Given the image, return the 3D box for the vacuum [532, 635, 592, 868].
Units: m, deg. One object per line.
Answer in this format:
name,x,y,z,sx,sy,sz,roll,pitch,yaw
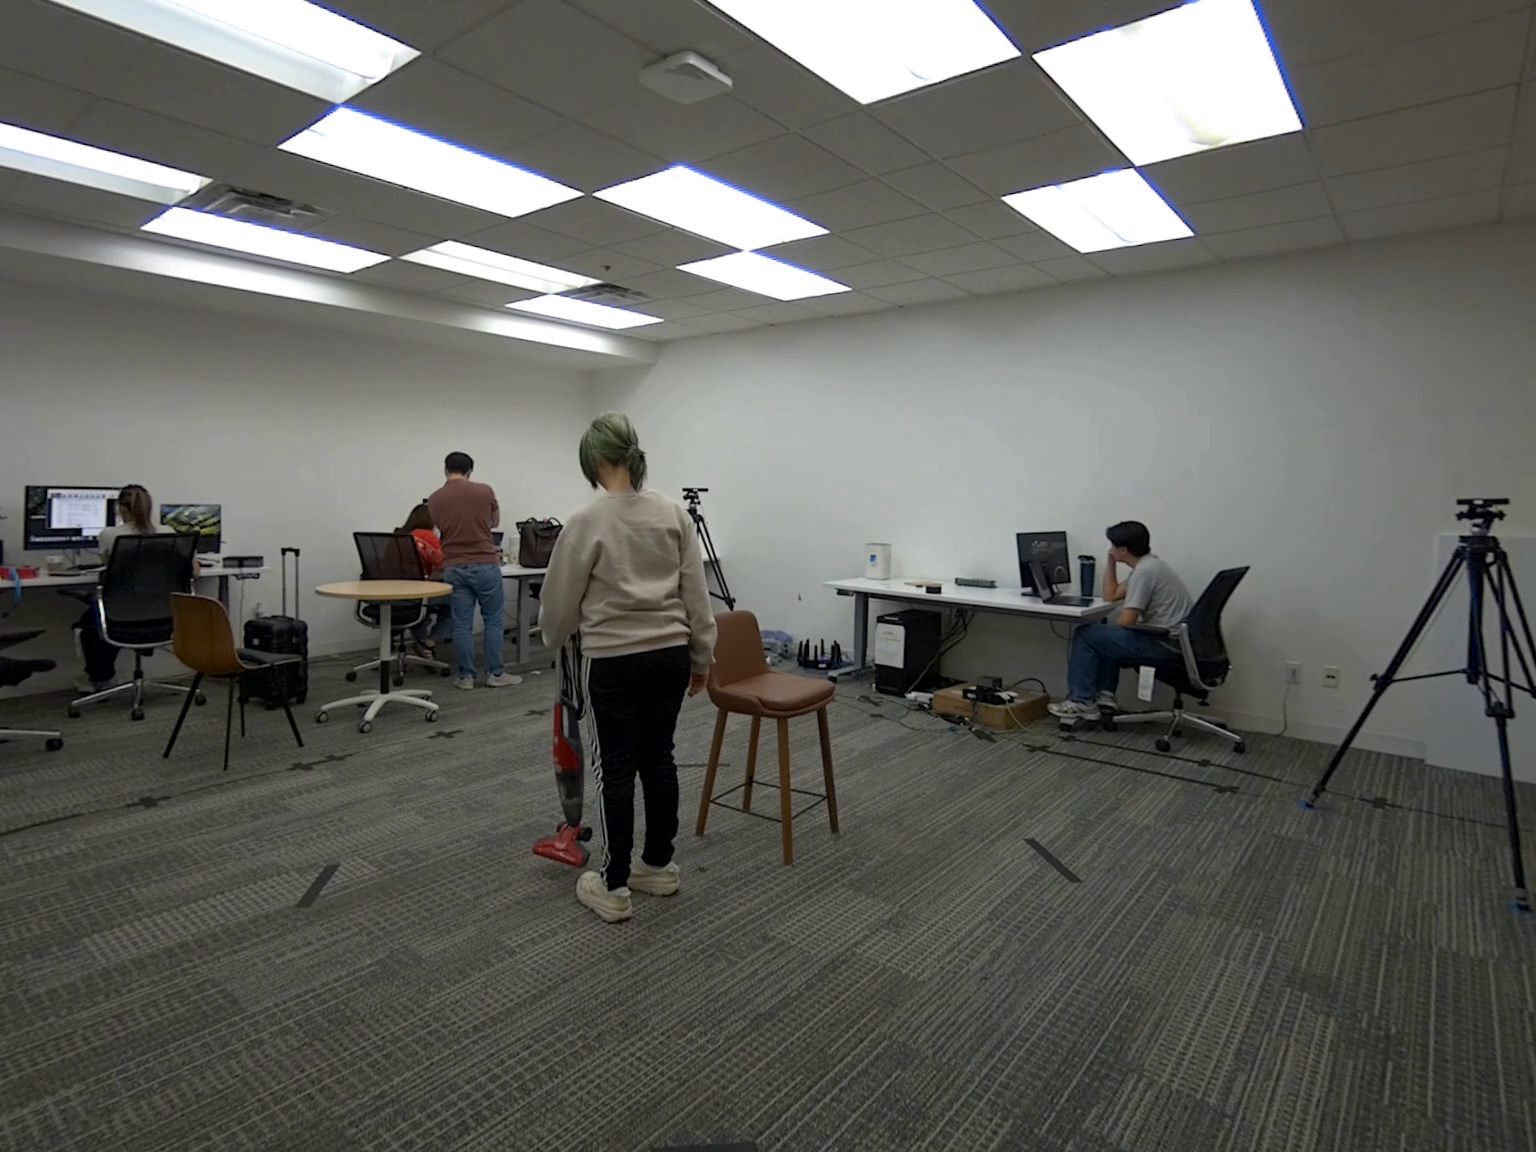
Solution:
vacuum,-0.740,0.454,3.070,0.260,1.051,0.139,-1,-2,38
